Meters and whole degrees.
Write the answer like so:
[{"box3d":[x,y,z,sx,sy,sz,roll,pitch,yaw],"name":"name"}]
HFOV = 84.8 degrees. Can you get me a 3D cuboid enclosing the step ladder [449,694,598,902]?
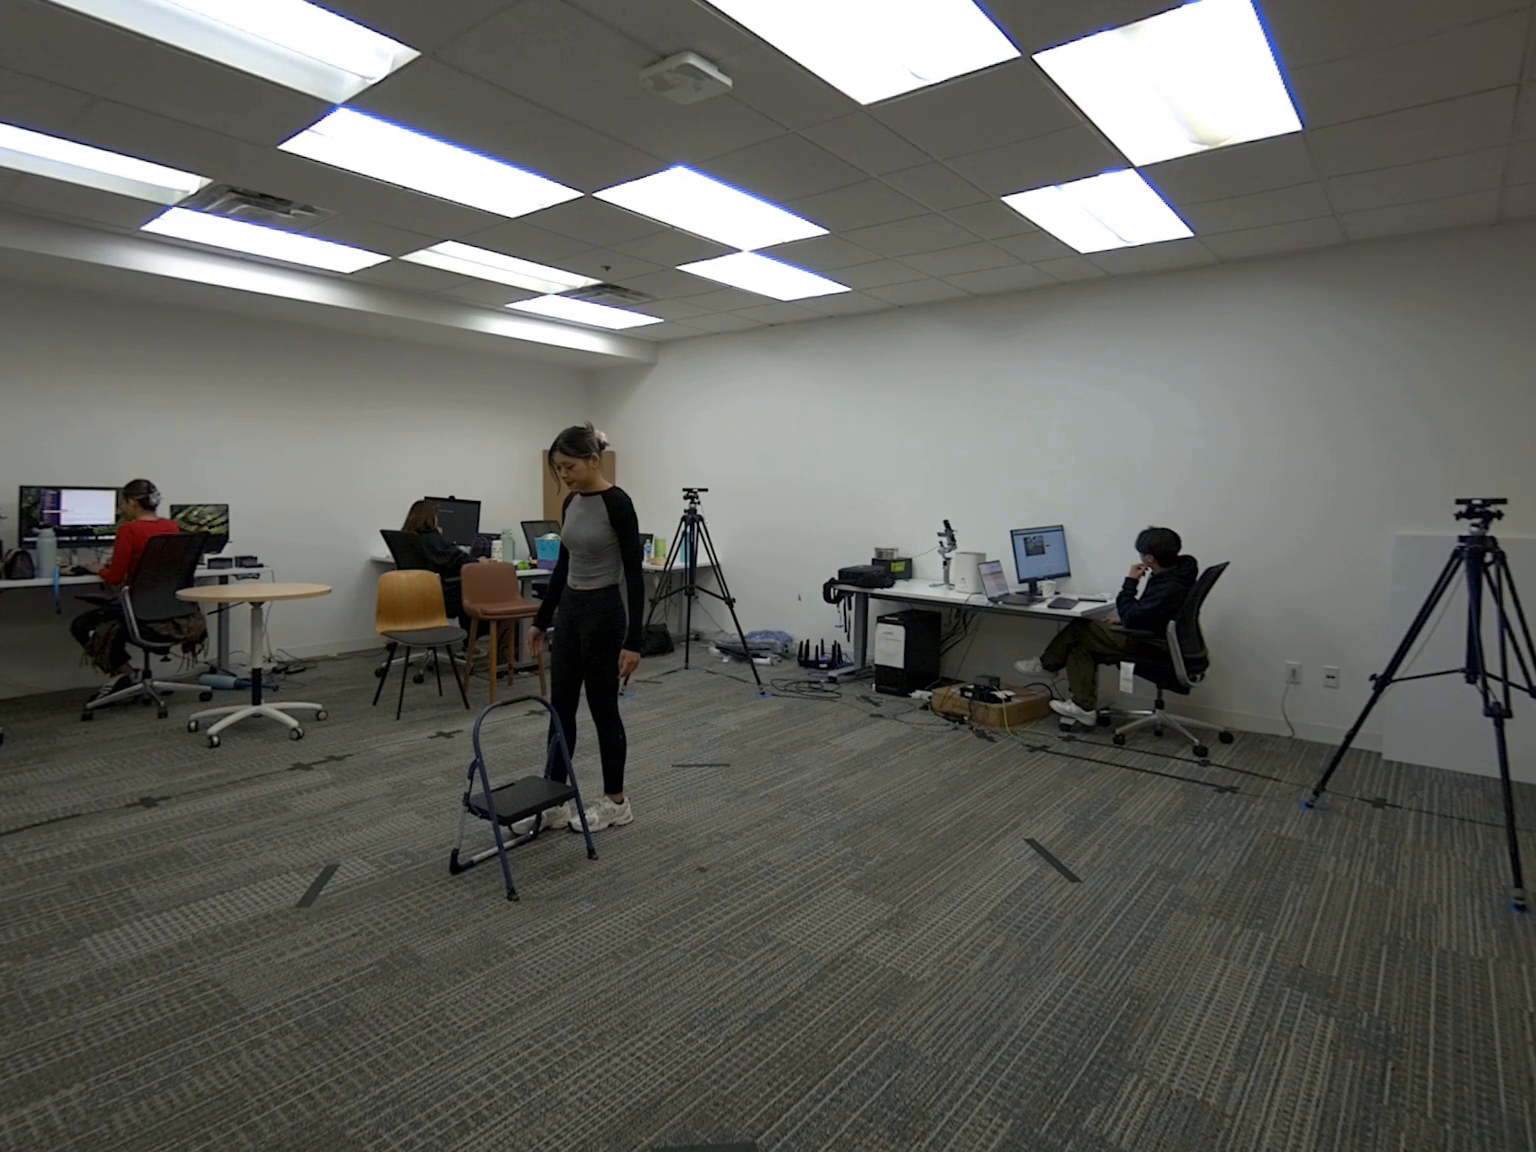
[{"box3d":[-0.897,0.759,3.100,0.360,0.605,0.419,3,3,32],"name":"step ladder"}]
